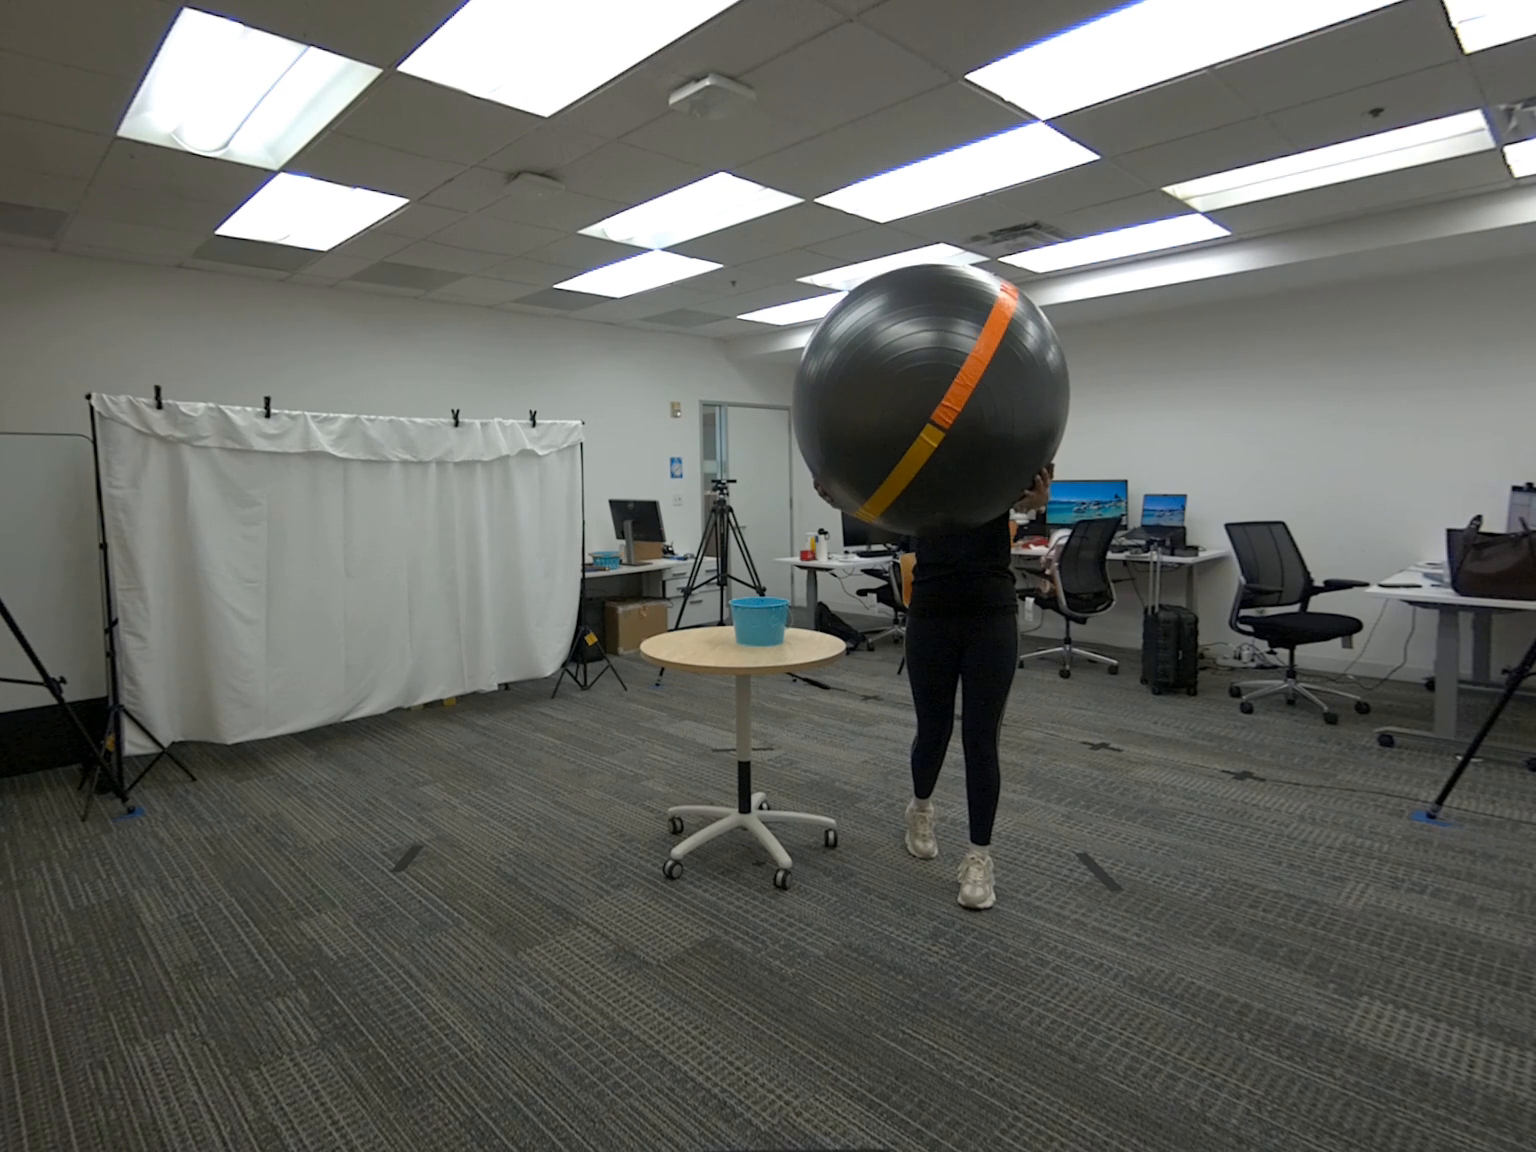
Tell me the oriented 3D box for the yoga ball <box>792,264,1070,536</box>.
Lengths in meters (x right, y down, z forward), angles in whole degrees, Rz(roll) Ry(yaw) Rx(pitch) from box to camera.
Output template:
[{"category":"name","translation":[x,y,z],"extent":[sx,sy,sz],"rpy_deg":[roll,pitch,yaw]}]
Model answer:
[{"category":"yoga ball","translation":[0.450,-0.483,2.413],"extent":[0.757,0.755,0.762],"rpy_deg":[-1,5,-2]}]
